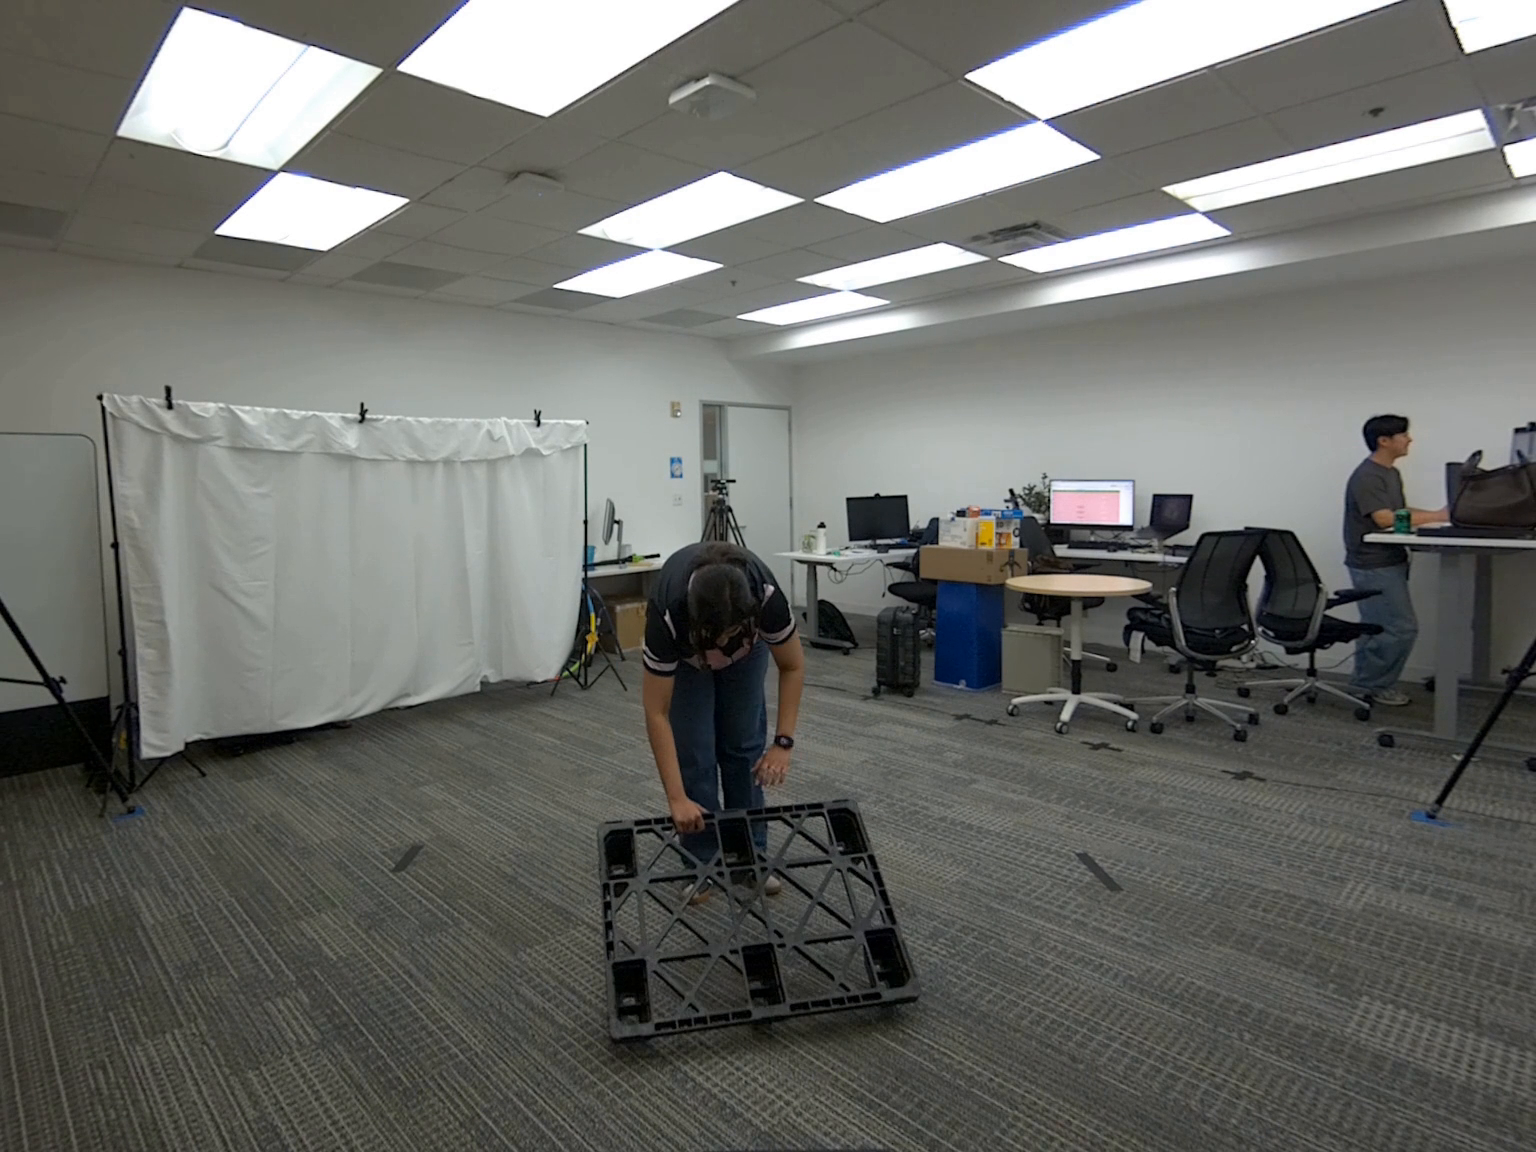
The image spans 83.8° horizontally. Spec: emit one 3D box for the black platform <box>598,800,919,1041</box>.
[{"bbox_3d":[-0.050,0.951,2.380,0.798,0.140,0.625,-3,40,-11],"label":"black platform"}]
